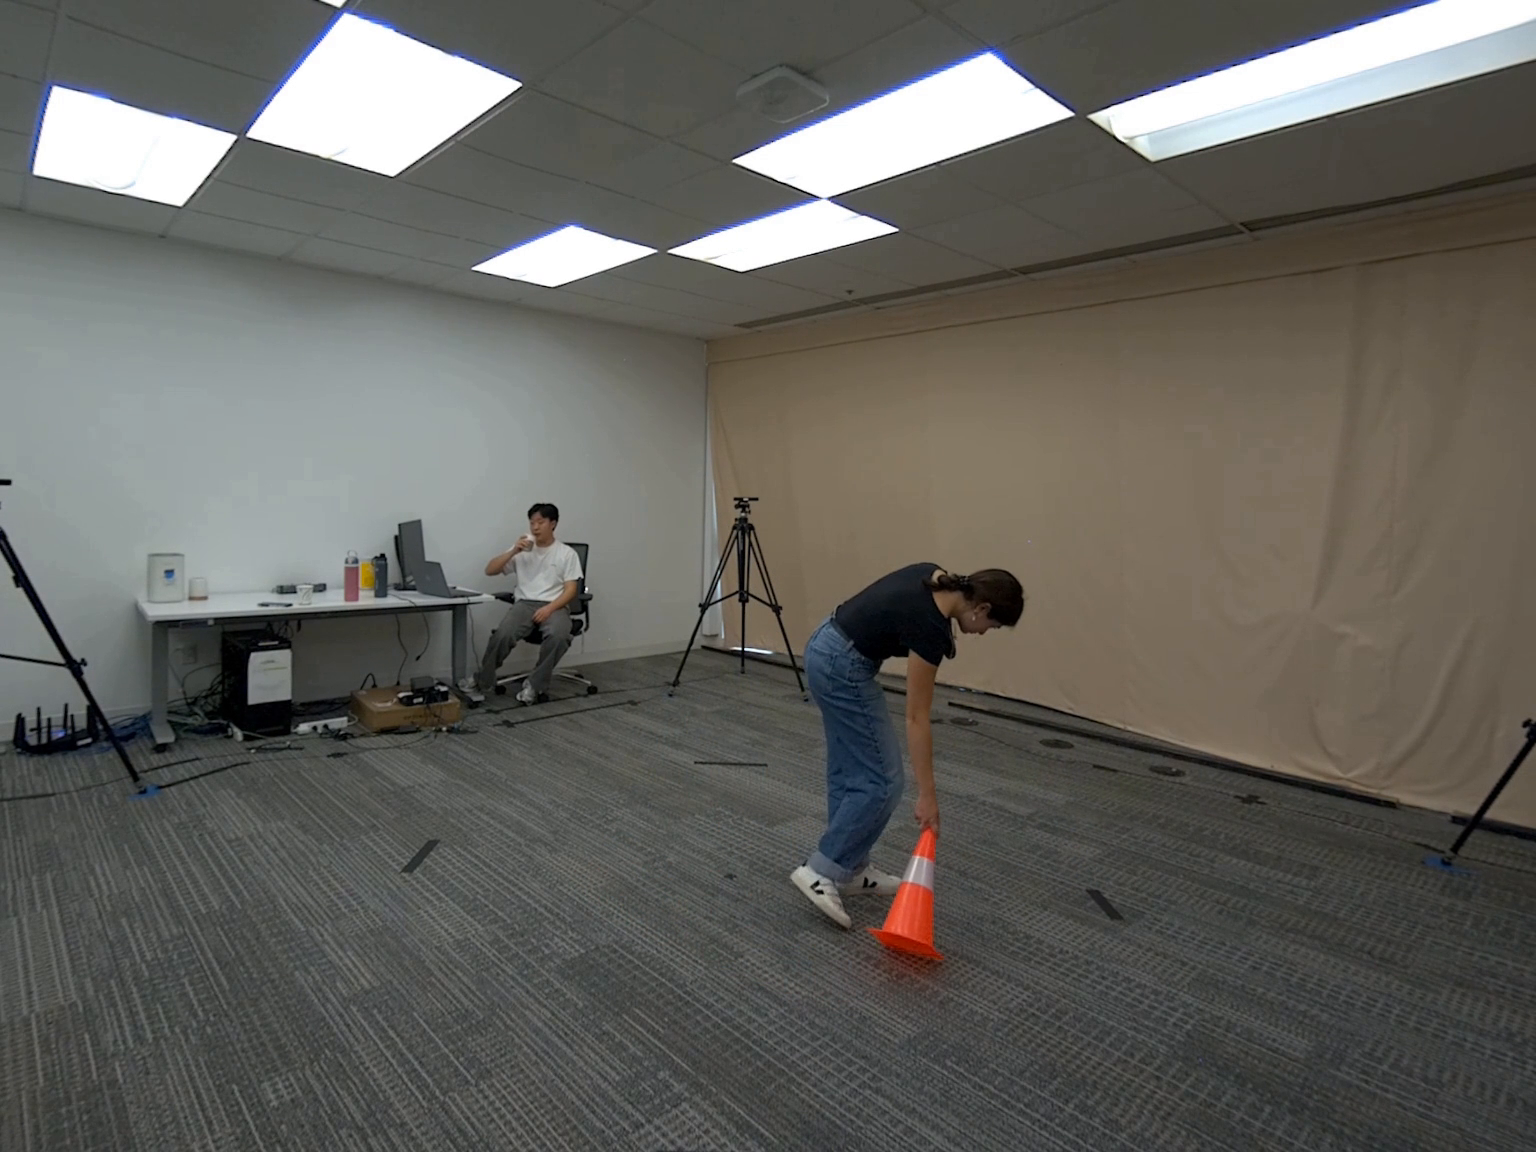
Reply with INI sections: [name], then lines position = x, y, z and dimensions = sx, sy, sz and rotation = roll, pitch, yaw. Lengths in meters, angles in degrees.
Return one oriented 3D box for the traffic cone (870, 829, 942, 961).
[traffic cone]
position = 0.459, 0.964, 2.619
dimensions = 0.207, 0.388, 0.199
rotation = -7, -41, 37
